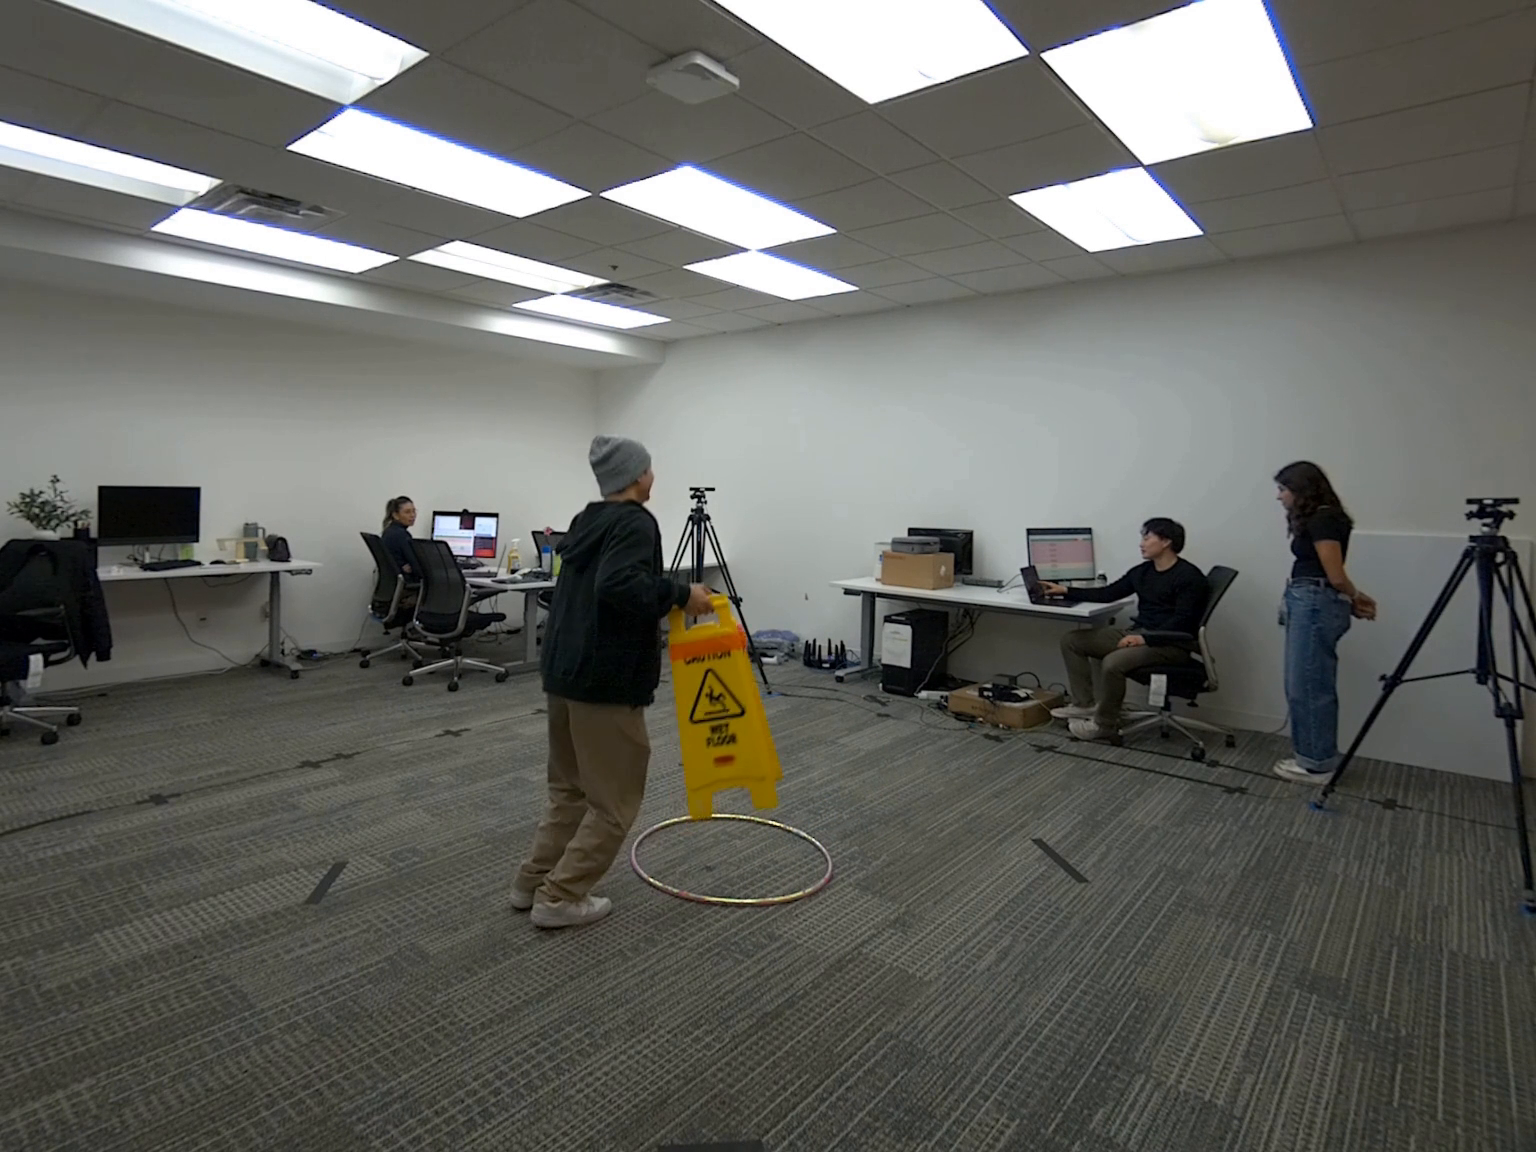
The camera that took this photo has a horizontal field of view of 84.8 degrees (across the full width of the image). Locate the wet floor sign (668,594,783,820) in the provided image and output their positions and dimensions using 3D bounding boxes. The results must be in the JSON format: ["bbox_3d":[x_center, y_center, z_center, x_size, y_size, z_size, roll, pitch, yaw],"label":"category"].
[{"bbox_3d":[-0.171,0.391,2.686,0.284,0.645,0.289,-10,2,5],"label":"wet floor sign"}]
